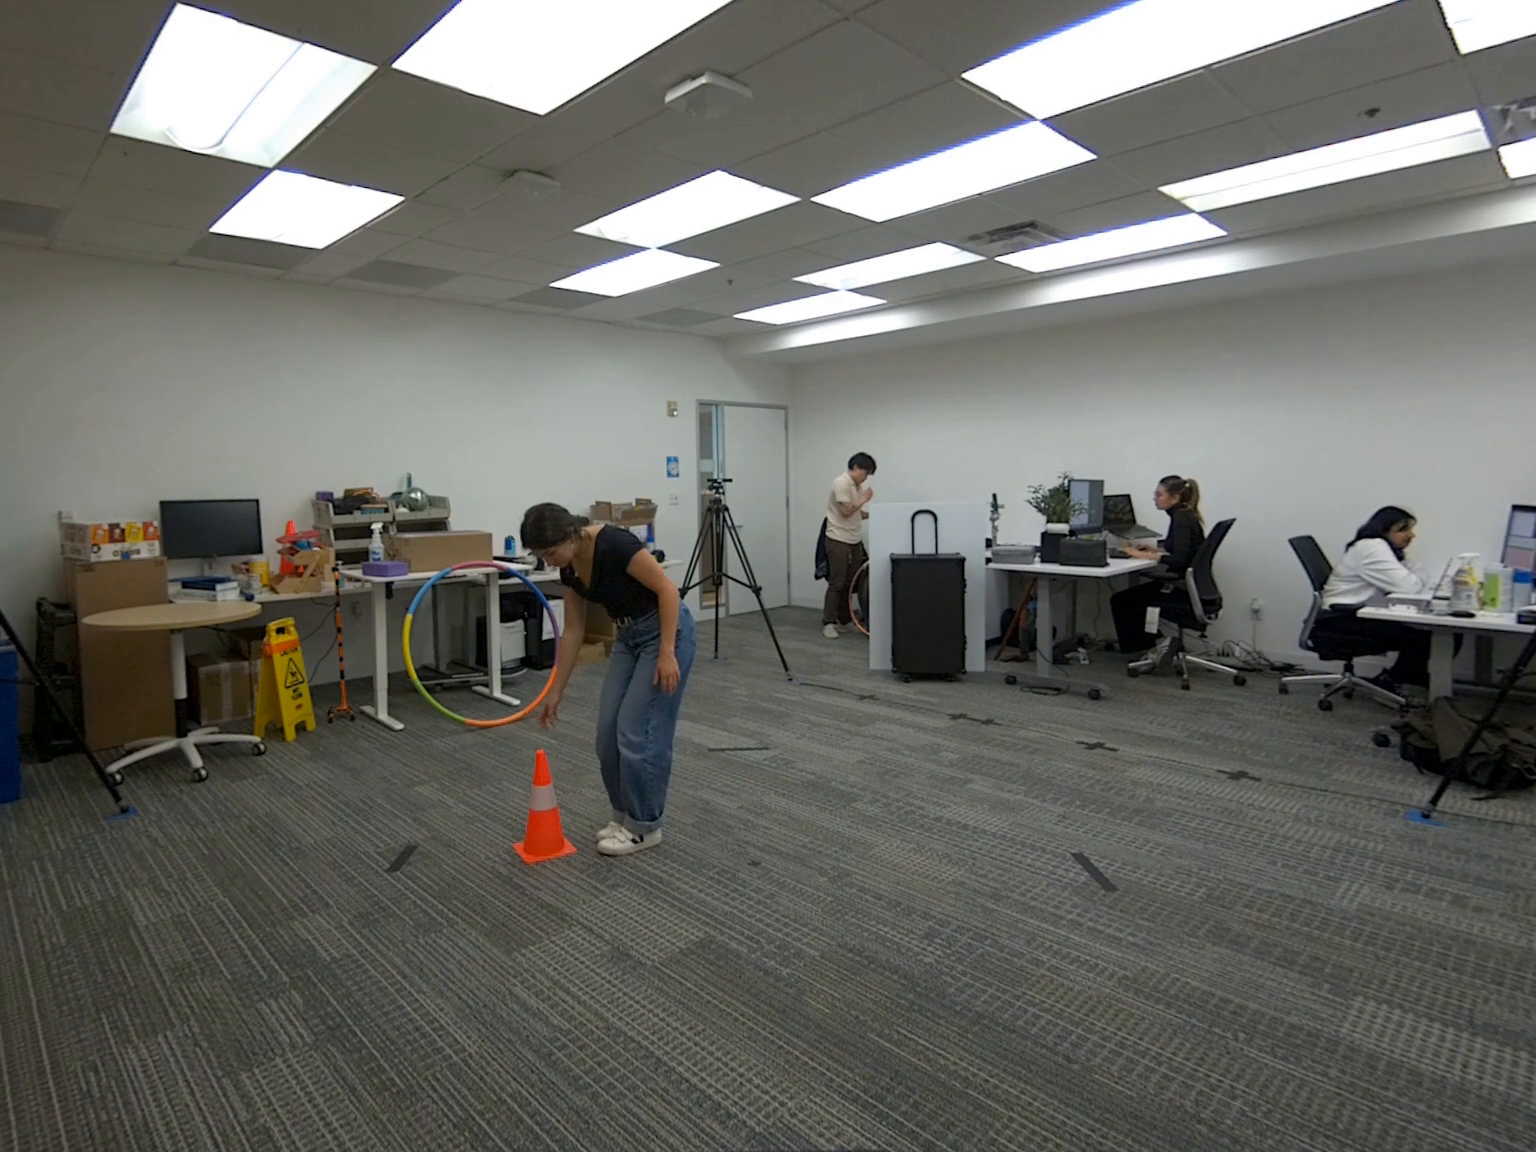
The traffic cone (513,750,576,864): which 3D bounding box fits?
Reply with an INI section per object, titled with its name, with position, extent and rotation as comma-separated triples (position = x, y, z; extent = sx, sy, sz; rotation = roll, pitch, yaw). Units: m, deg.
[traffic cone]
position = -0.856, 0.857, 3.267
extent = 0.199, 0.383, 0.210
rotation = -2, 3, -26
